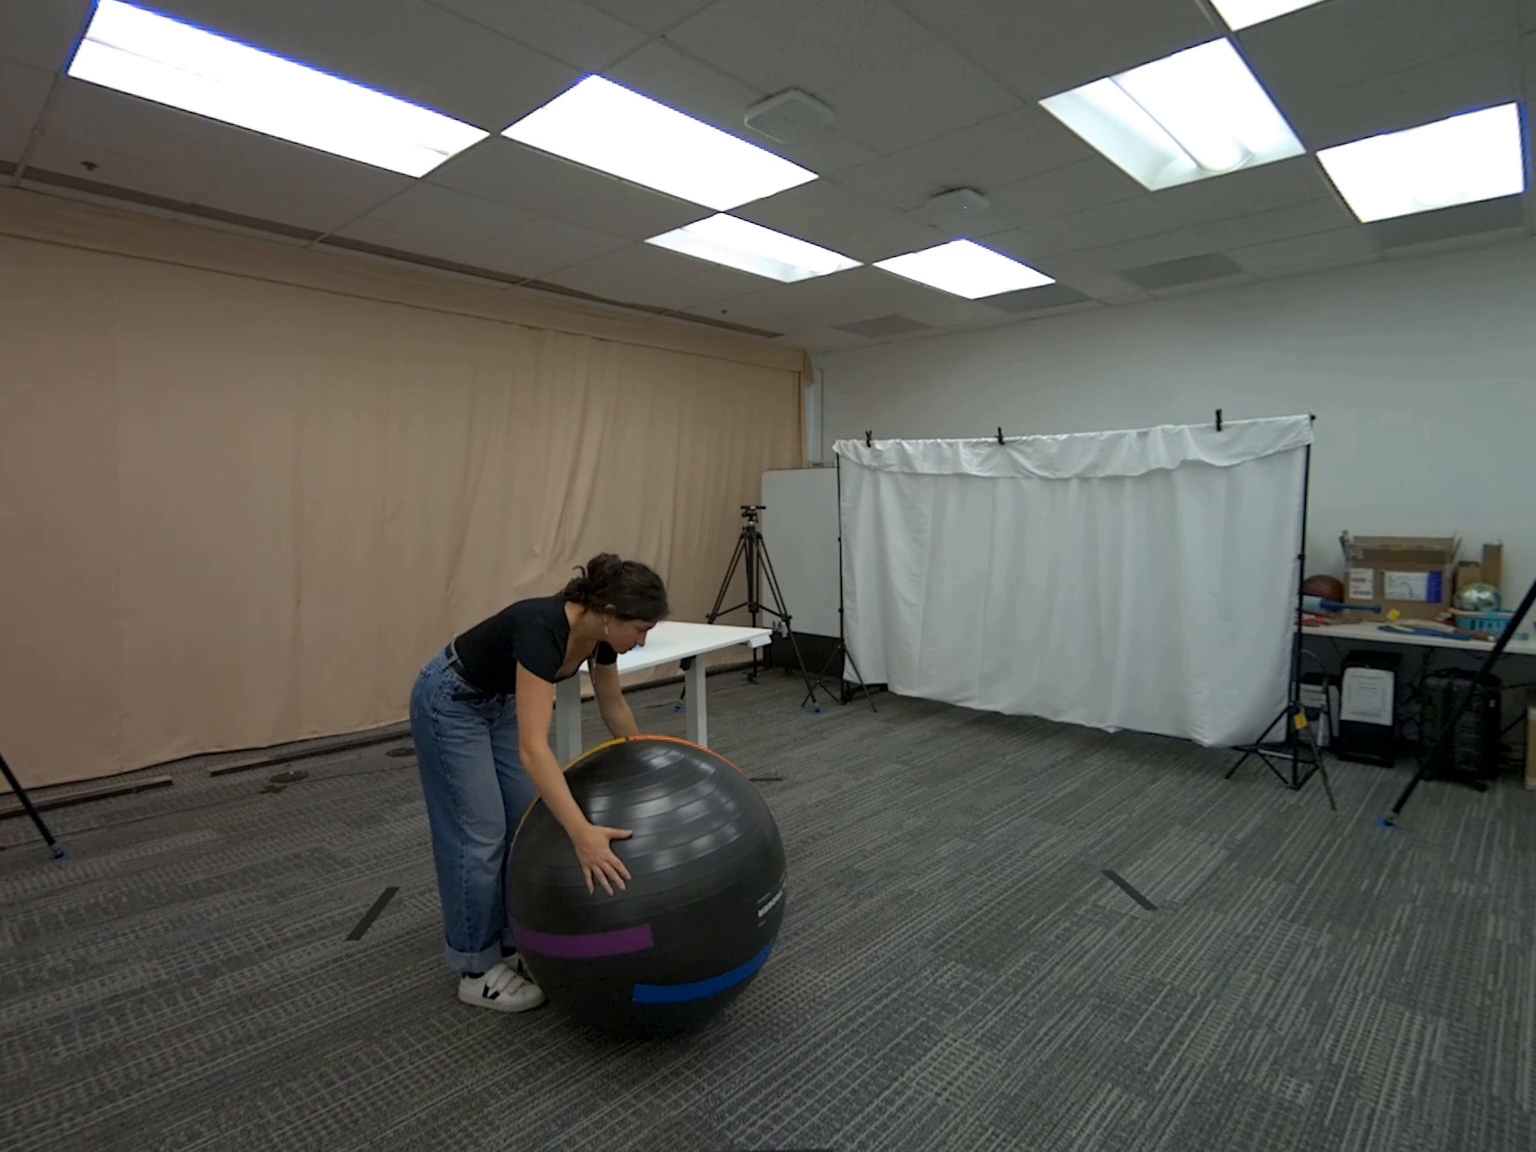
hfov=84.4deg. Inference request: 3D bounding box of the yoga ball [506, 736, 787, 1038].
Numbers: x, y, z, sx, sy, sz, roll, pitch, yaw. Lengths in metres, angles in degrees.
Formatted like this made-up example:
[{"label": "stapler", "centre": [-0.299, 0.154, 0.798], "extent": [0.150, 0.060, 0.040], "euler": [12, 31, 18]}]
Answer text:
[{"label": "yoga ball", "centre": [-0.336, 0.843, 2.288], "extent": [0.757, 0.756, 0.760], "euler": [0, 4, -2]}]
